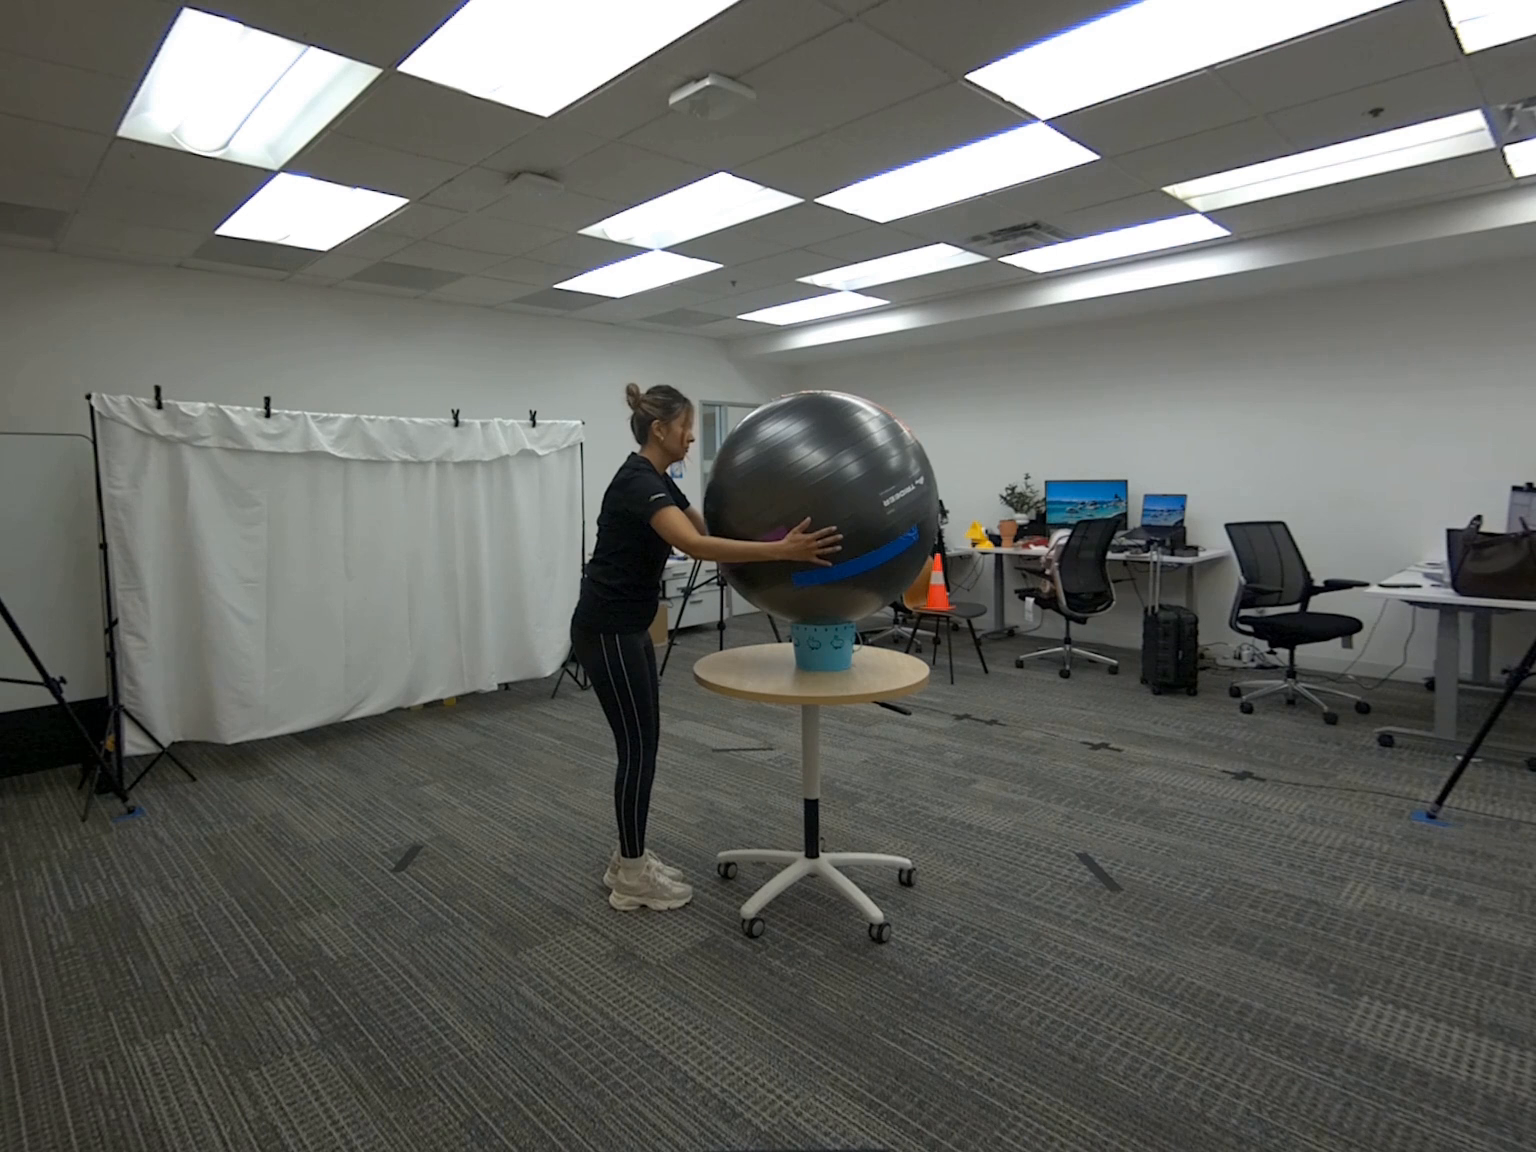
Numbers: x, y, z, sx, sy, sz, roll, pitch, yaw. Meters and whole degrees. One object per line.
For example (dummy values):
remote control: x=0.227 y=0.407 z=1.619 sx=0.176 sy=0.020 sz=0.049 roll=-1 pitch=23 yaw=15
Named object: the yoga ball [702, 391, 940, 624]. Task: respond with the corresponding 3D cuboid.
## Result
yoga ball: x=0.185 y=-0.215 z=2.771 sx=0.757 sy=0.755 sz=0.762 roll=-1 pitch=5 yaw=-2
